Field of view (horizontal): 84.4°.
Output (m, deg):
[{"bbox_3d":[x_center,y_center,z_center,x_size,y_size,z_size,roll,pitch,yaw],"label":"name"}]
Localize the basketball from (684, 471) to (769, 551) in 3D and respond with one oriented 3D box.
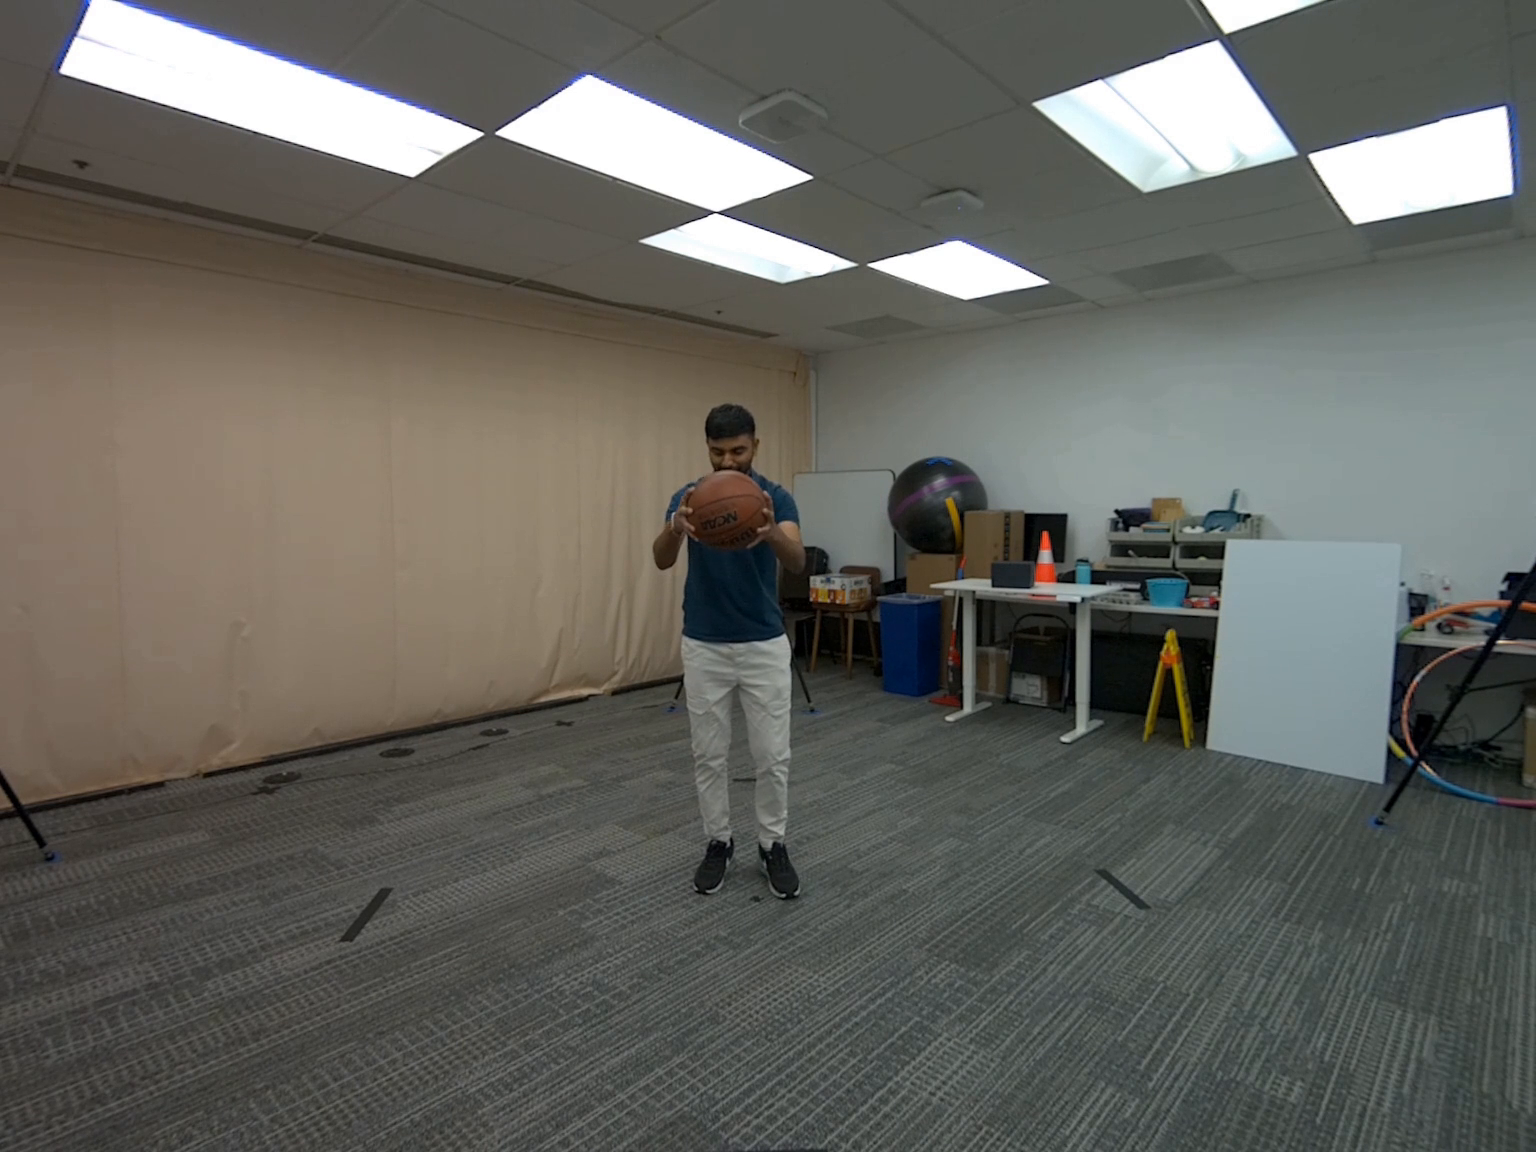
[{"bbox_3d":[-0.116,-0.188,2.499,0.236,0.235,0.237,0,4,-2],"label":"basketball"}]
